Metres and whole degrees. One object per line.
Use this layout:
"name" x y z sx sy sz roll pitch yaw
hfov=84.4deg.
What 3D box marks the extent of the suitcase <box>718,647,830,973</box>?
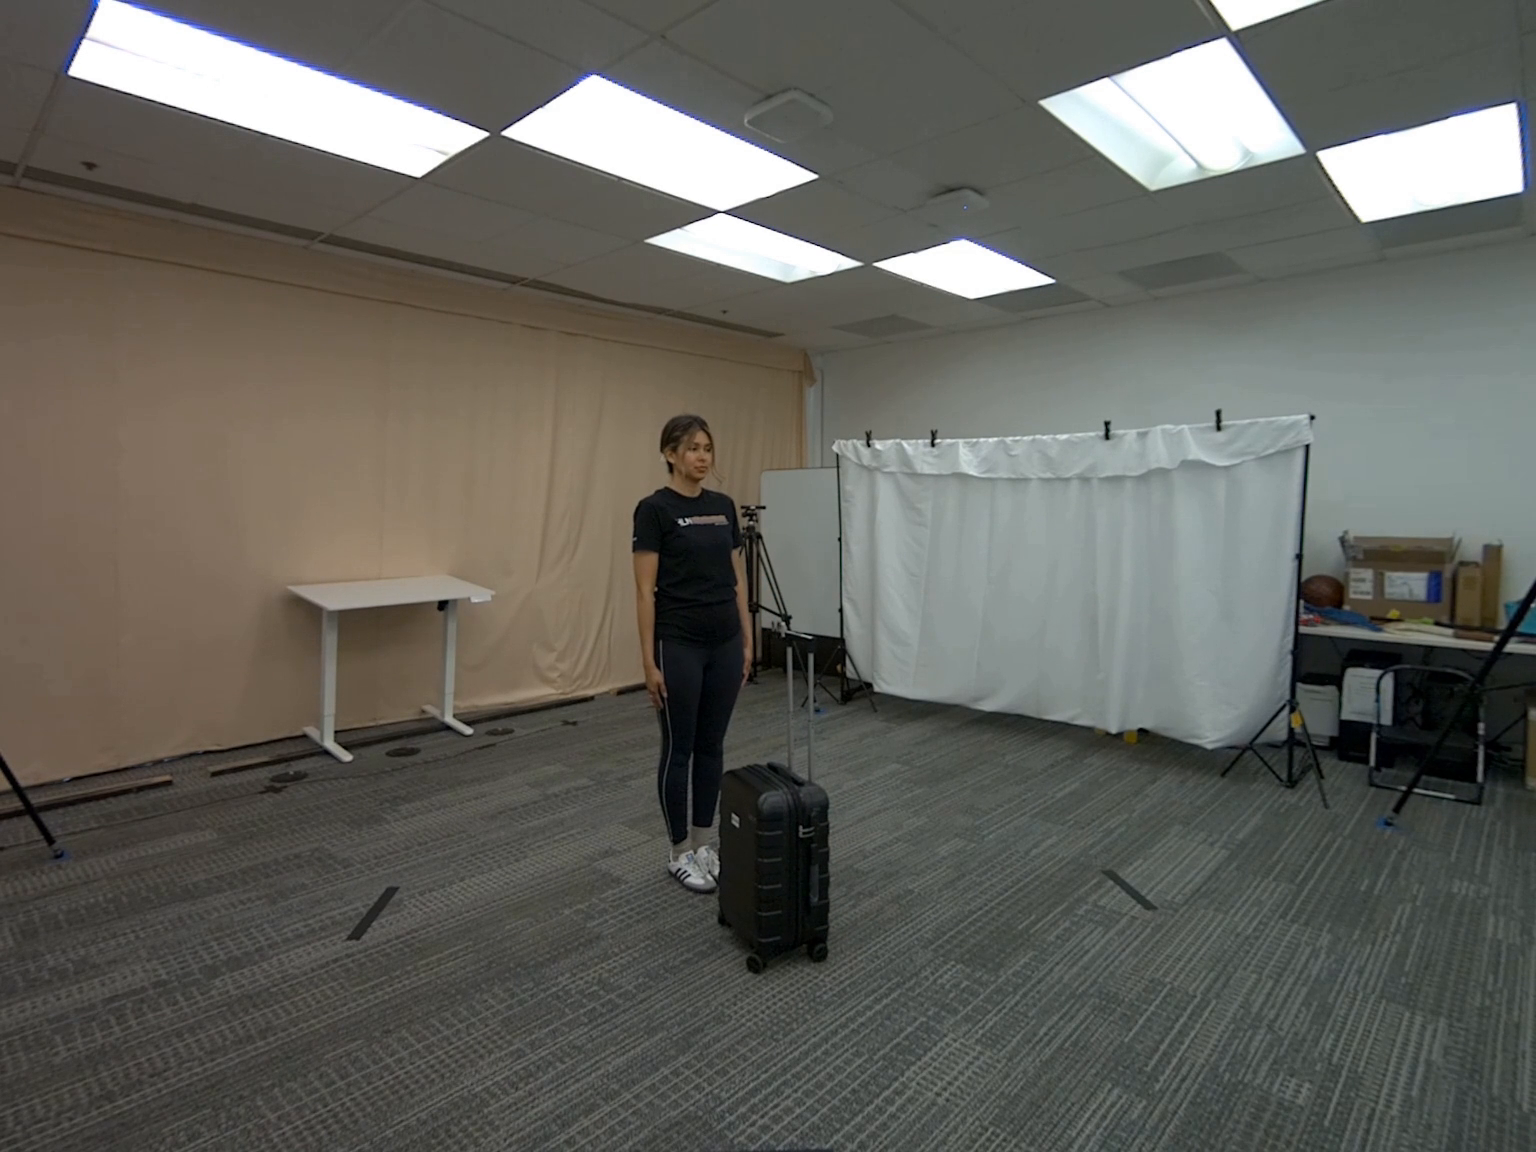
"suitcase" 0.019 0.699 2.661 0.252 0.977 0.392 -2 3 -21
